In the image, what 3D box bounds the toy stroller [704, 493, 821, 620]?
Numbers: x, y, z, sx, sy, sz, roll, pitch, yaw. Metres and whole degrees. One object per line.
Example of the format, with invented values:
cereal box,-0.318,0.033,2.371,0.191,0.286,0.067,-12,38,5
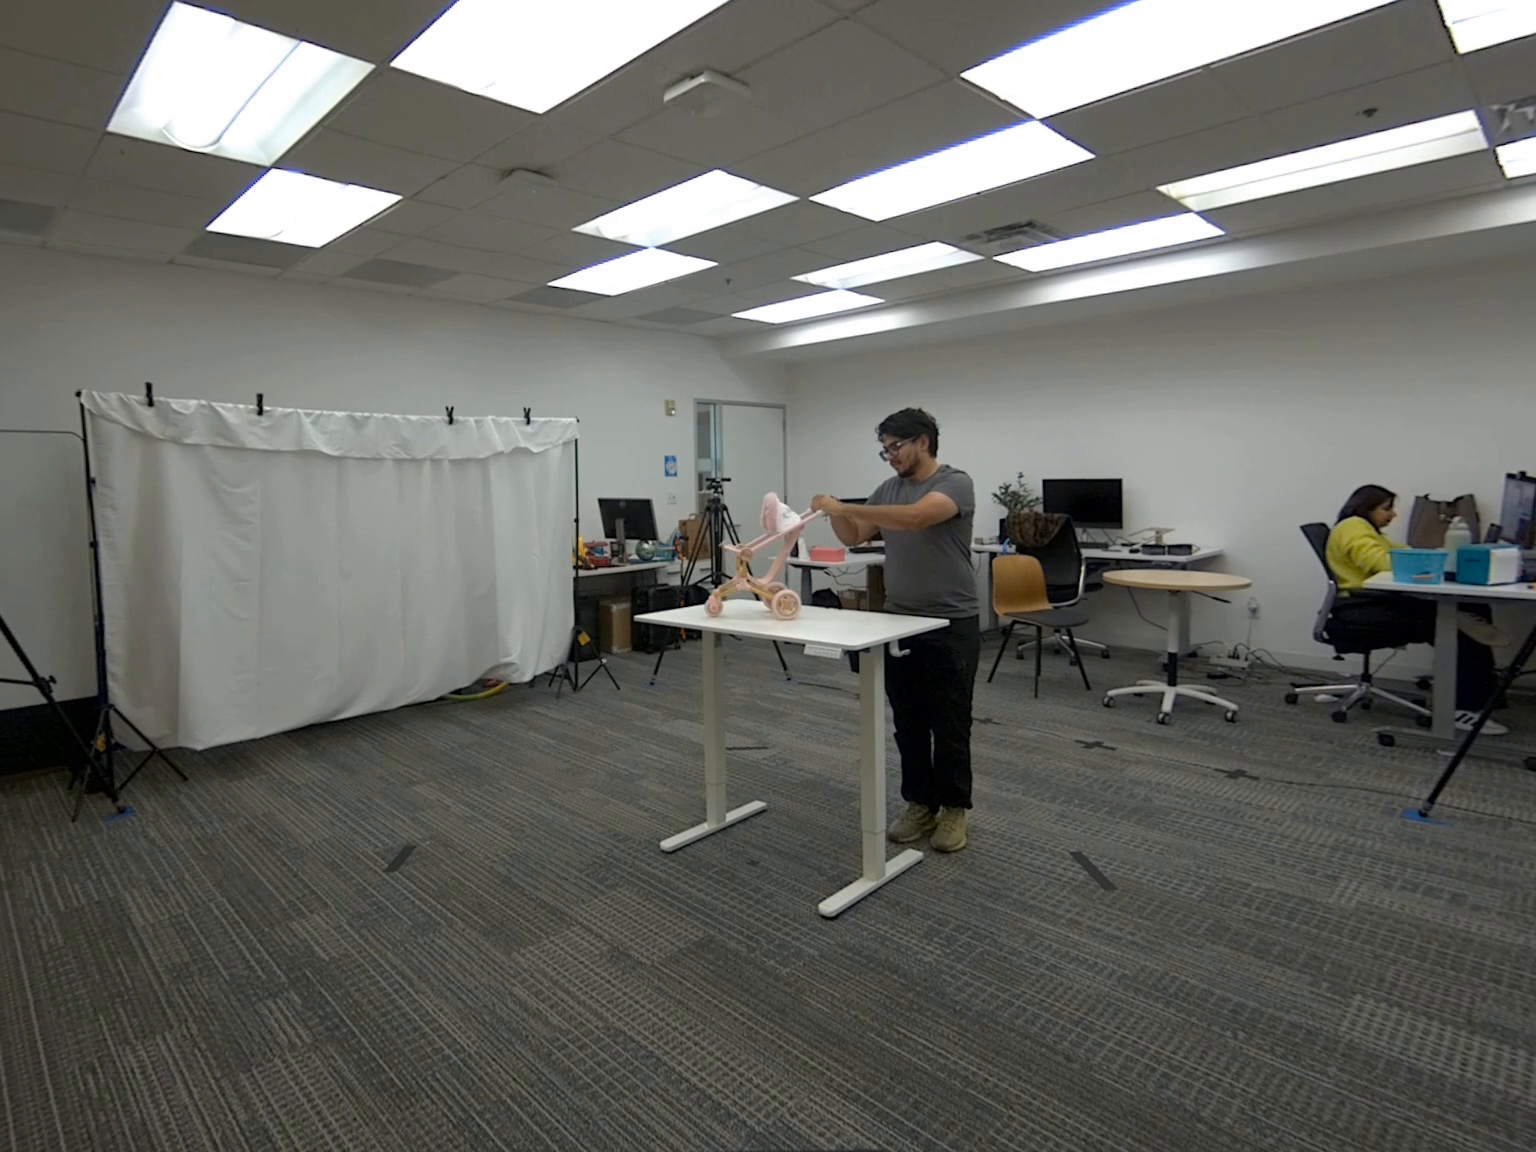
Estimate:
toy stroller,-0.012,-0.071,3.192,0.341,0.534,0.282,15,2,-3
